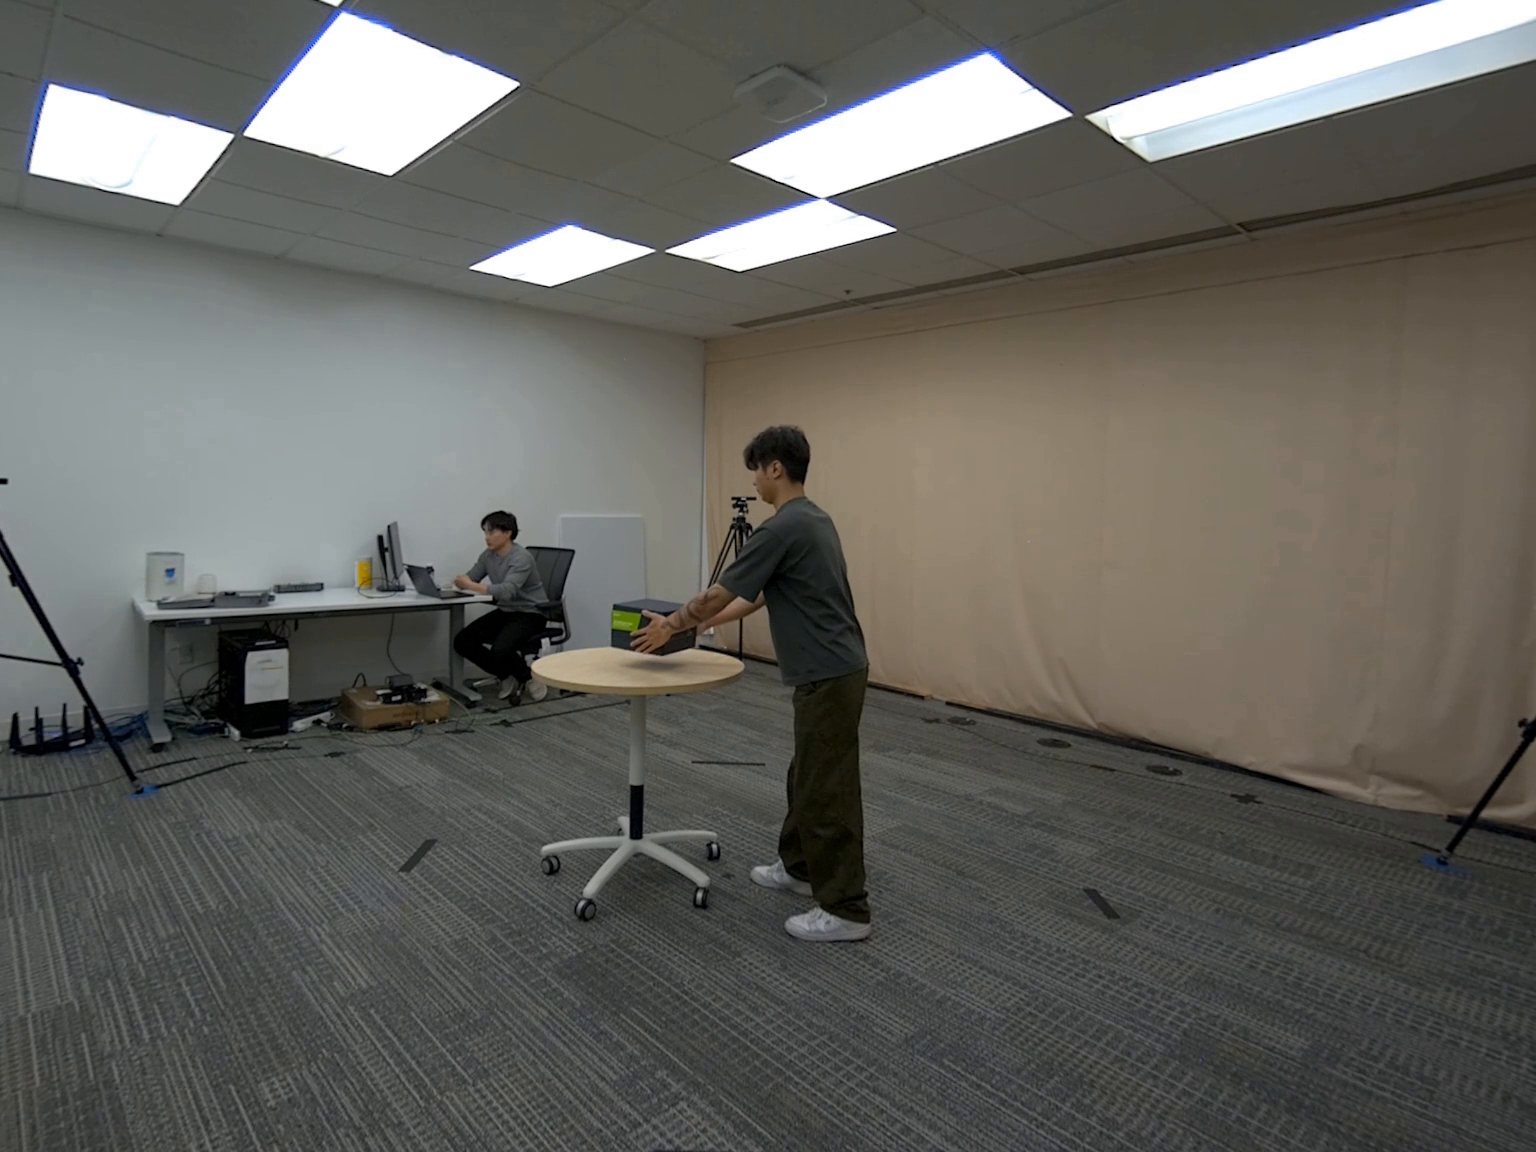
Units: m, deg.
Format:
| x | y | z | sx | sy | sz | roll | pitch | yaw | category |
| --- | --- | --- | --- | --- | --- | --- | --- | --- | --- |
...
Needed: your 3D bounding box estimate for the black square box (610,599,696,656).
| x | y | z | sx | sy | sz | roll | pitch | yaw | category |
| --- | --- | --- | --- | --- | --- | --- | --- | --- | --- |
| -0.414 | 0.176 | 3.030 | 0.233 | 0.155 | 0.213 | 6 | 7 | 28 | black square box |
